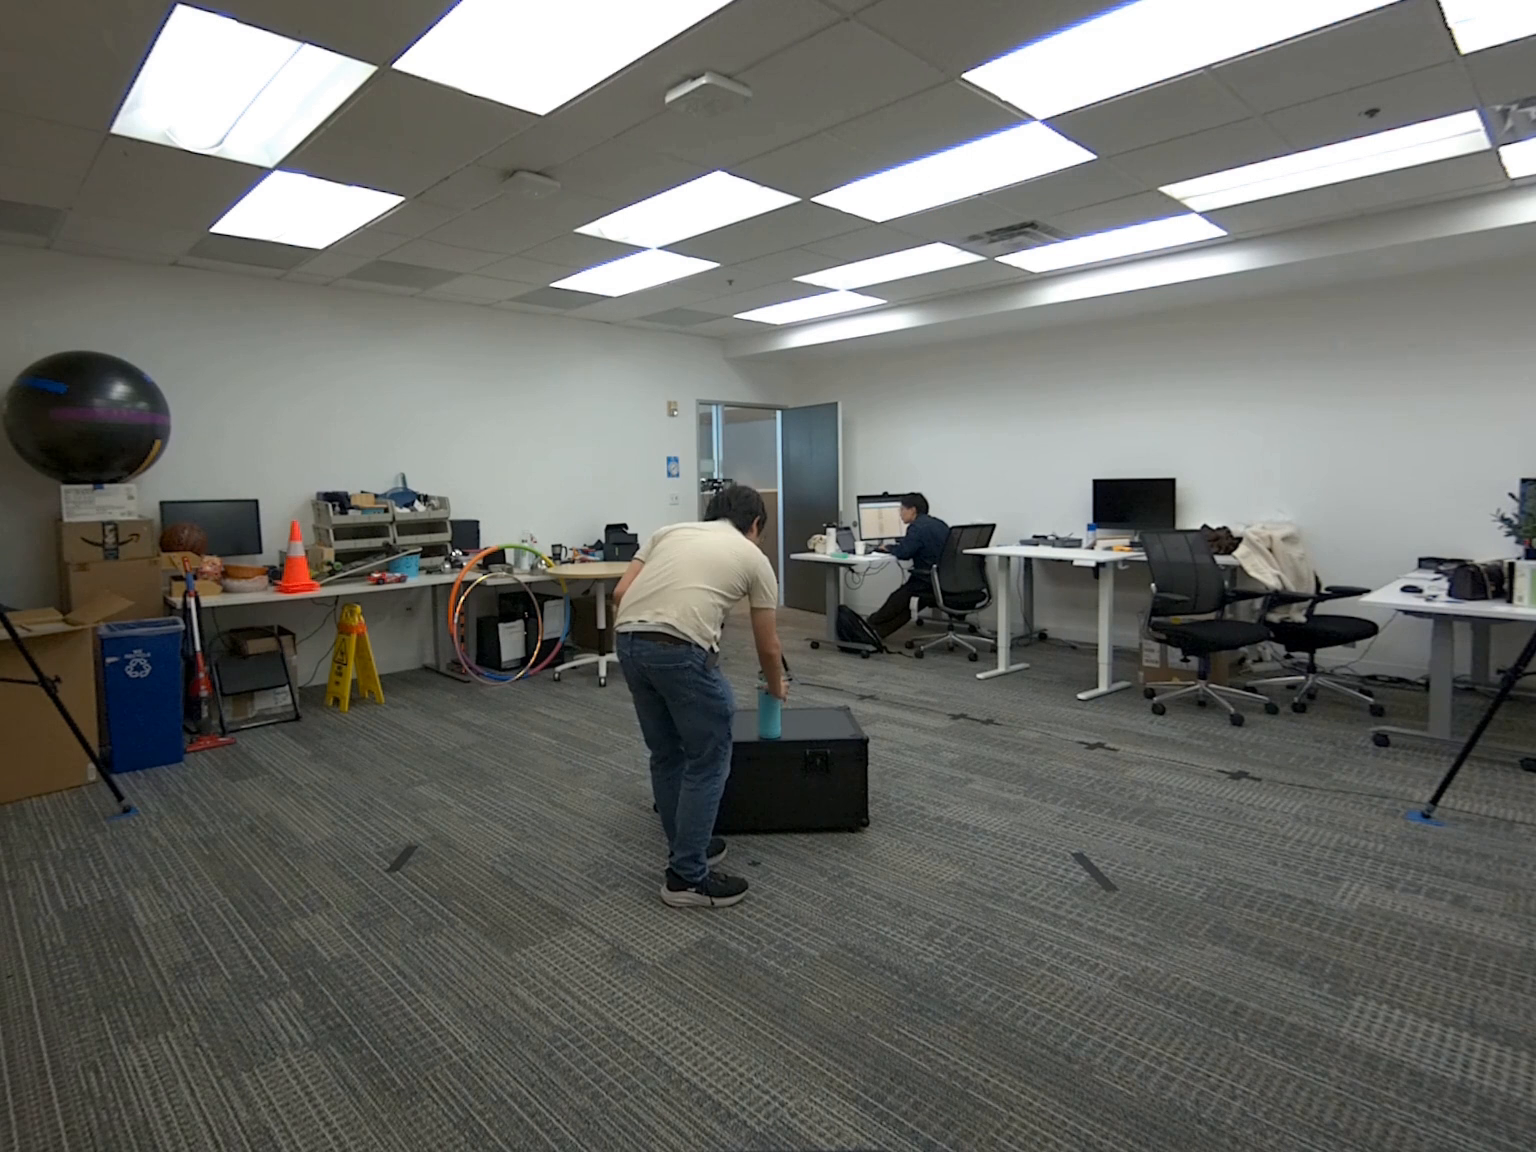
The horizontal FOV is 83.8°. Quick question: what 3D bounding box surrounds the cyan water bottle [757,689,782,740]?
[{"bbox_3d":[0.011,0.496,3.402,0.092,0.282,0.093,-1,4,-2],"label":"cyan water bottle"}]
